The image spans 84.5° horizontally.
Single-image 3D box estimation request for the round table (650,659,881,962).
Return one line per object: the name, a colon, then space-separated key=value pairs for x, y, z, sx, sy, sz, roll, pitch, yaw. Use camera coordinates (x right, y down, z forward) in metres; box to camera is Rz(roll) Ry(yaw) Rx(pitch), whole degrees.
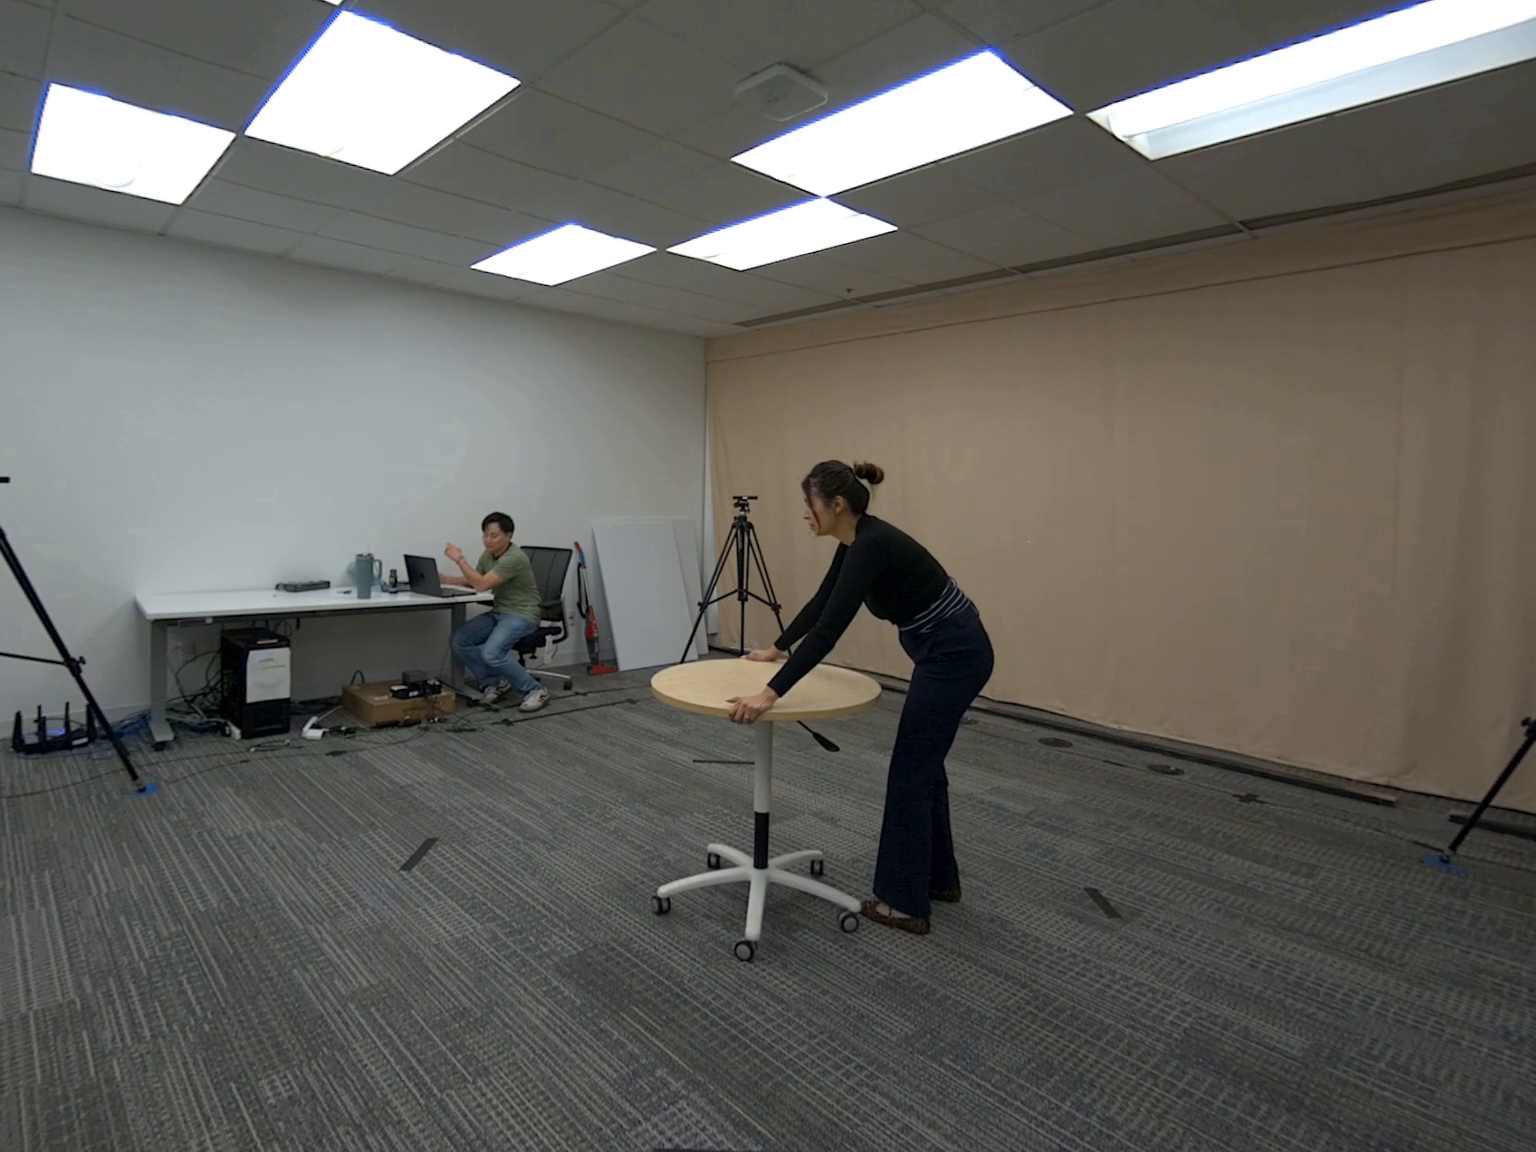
round table: x=-0.028 y=0.742 z=2.845 sx=0.763 sy=0.791 sz=0.767 roll=2 pitch=5 yaw=-2
